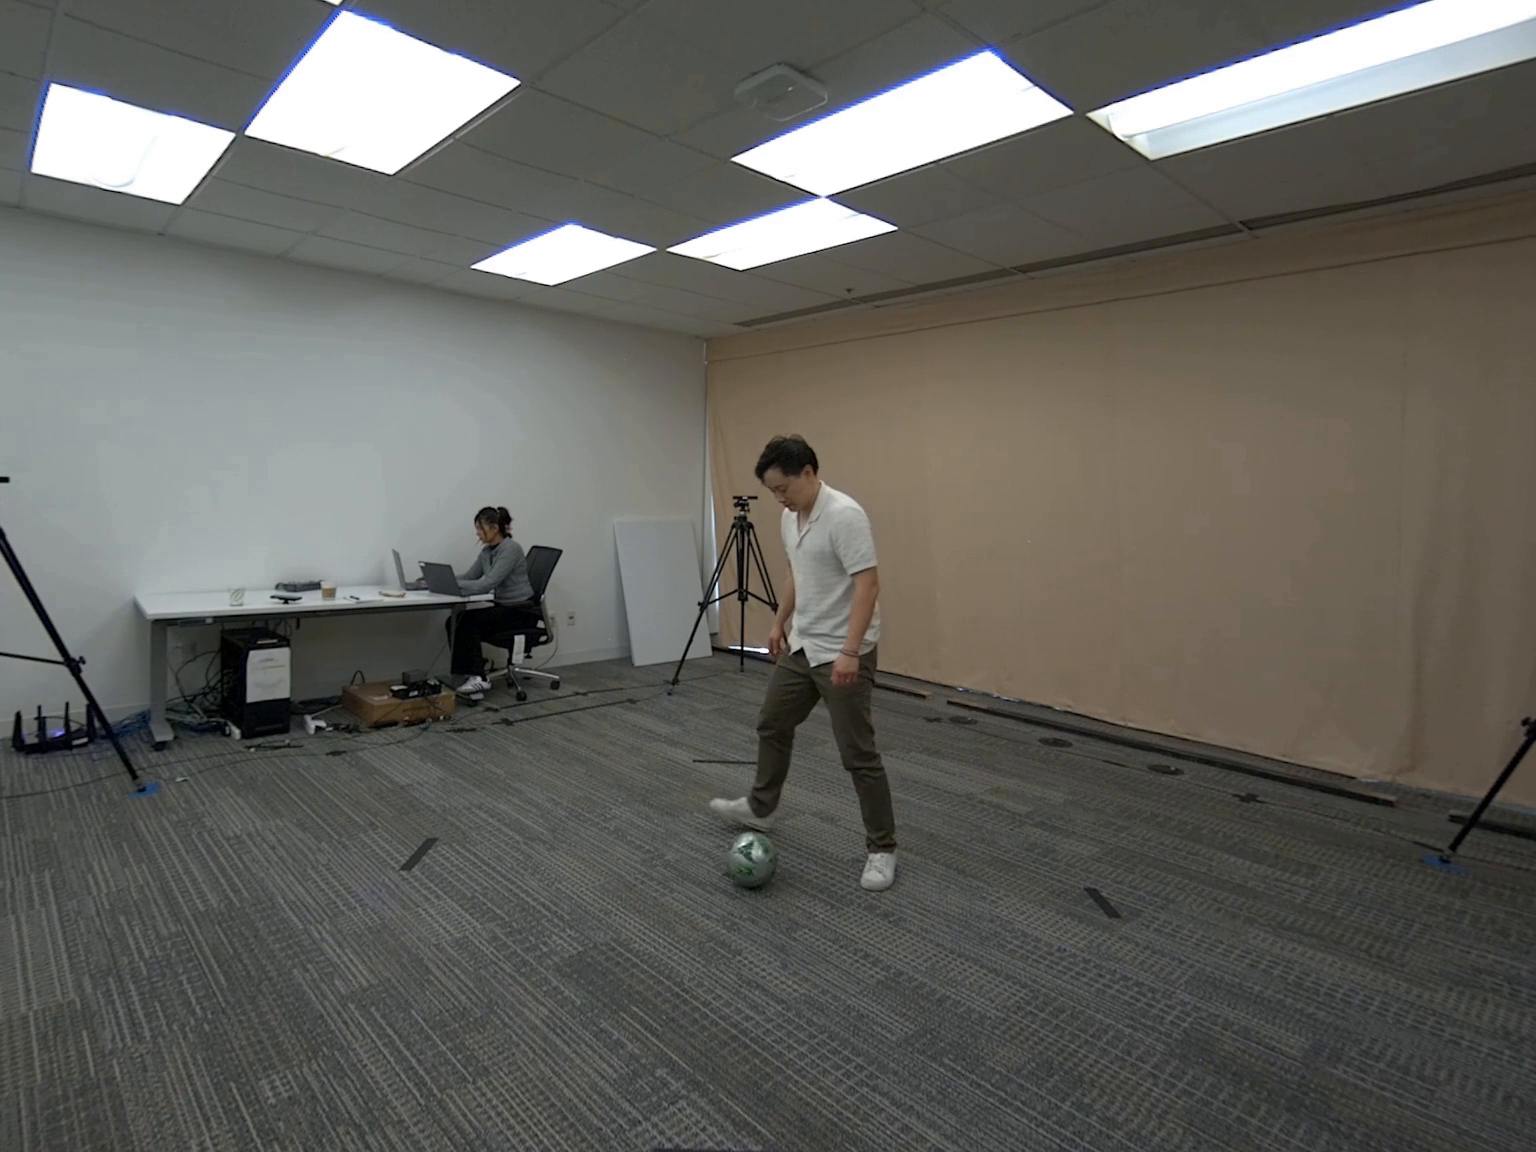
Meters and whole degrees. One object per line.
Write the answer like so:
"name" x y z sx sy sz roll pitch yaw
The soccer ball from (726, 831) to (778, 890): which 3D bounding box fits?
"soccer ball" -0.066 1.015 3.011 0.187 0.187 0.188 1 4 -1
